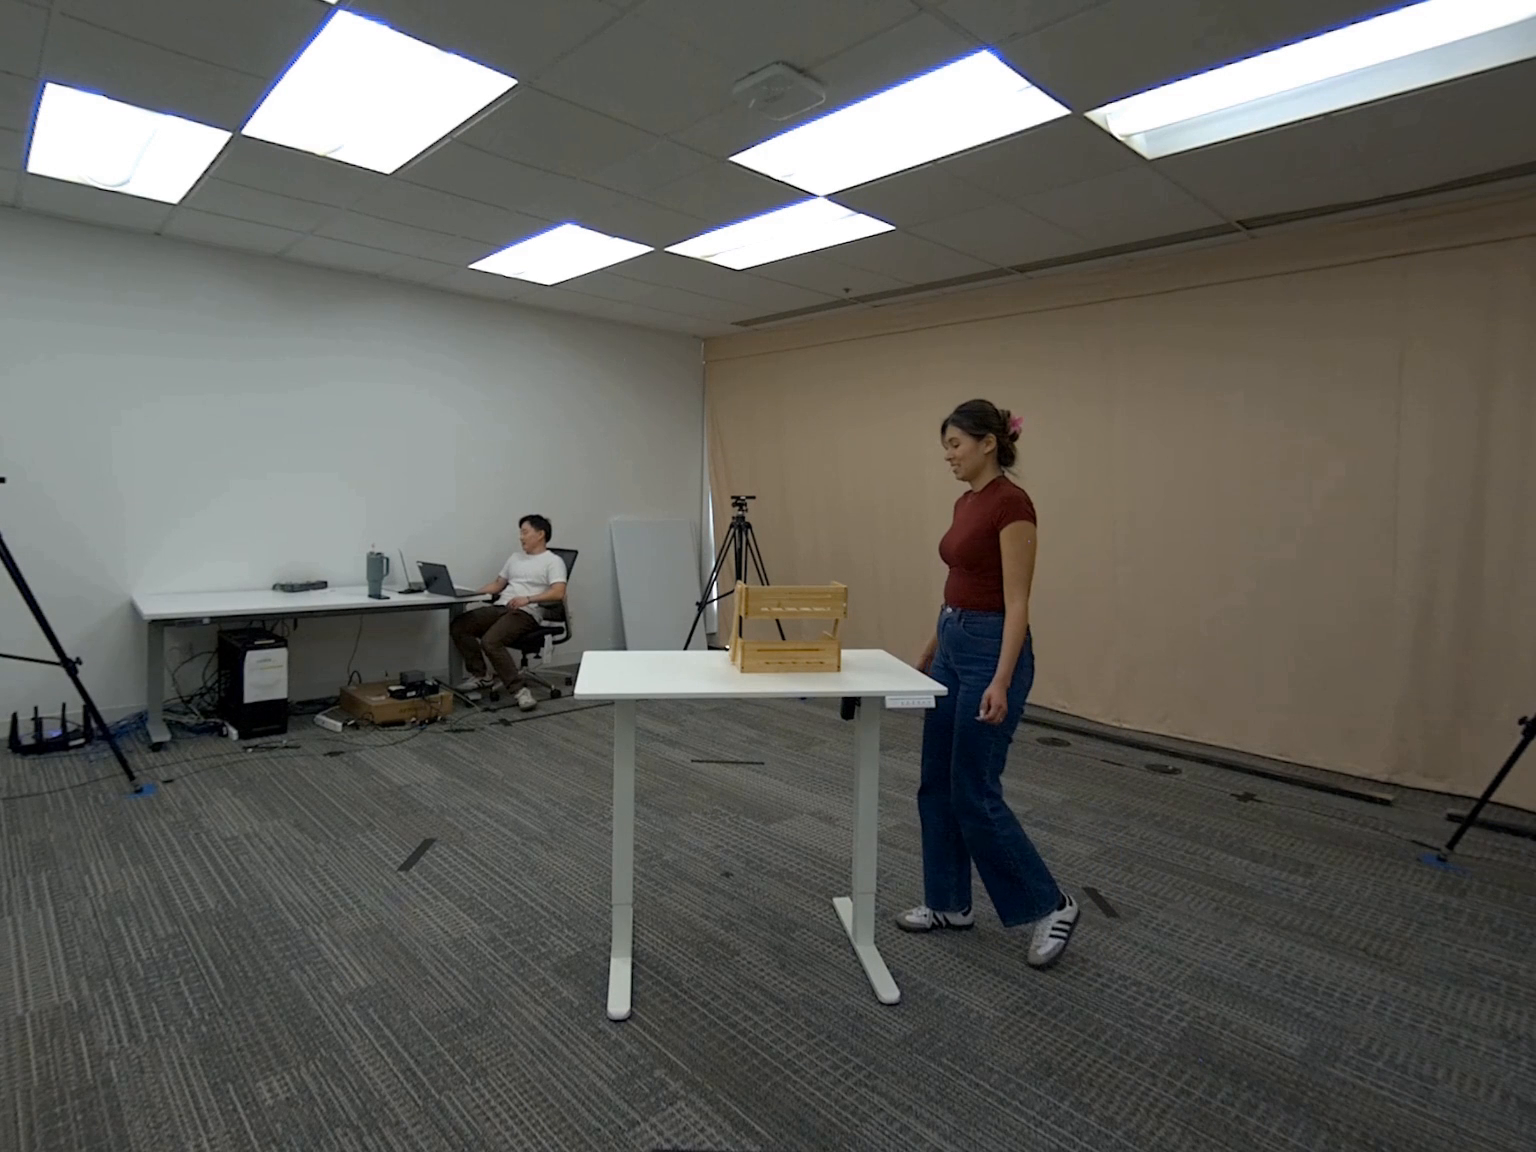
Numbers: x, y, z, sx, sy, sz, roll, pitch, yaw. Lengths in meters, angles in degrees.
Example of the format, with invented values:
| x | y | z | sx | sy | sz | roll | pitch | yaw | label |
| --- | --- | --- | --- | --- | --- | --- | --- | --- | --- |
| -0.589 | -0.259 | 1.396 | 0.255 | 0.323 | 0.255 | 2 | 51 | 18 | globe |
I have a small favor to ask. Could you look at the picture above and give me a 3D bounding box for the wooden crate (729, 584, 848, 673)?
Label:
| x | y | z | sx | sy | sz | roll | pitch | yaw | label |
| --- | --- | --- | --- | --- | --- | --- | --- | --- | --- |
| 0.050 | 0.142 | 2.563 | 0.322 | 0.272 | 0.305 | 0 | 6 | -10 | wooden crate |
